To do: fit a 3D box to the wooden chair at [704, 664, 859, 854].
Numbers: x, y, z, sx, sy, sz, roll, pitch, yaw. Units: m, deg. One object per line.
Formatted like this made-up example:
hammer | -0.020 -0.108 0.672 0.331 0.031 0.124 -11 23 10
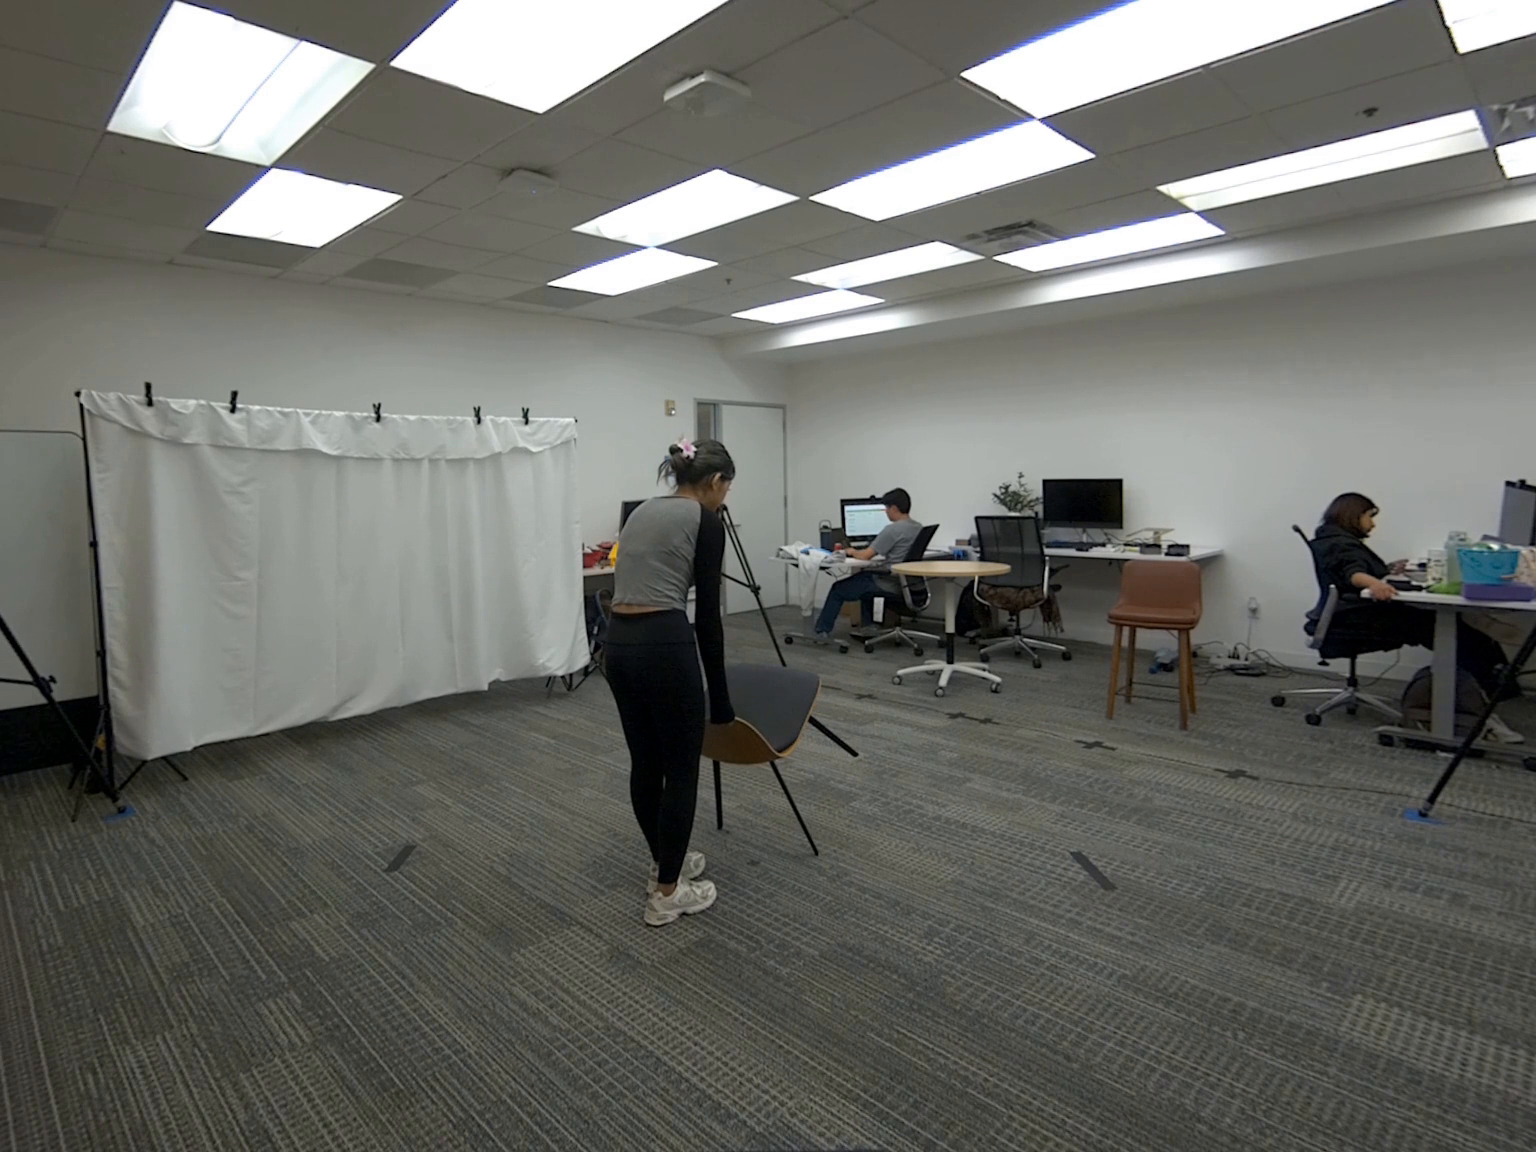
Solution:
wooden chair | -0.054 0.554 3.184 0.491 0.845 0.528 3 48 34
